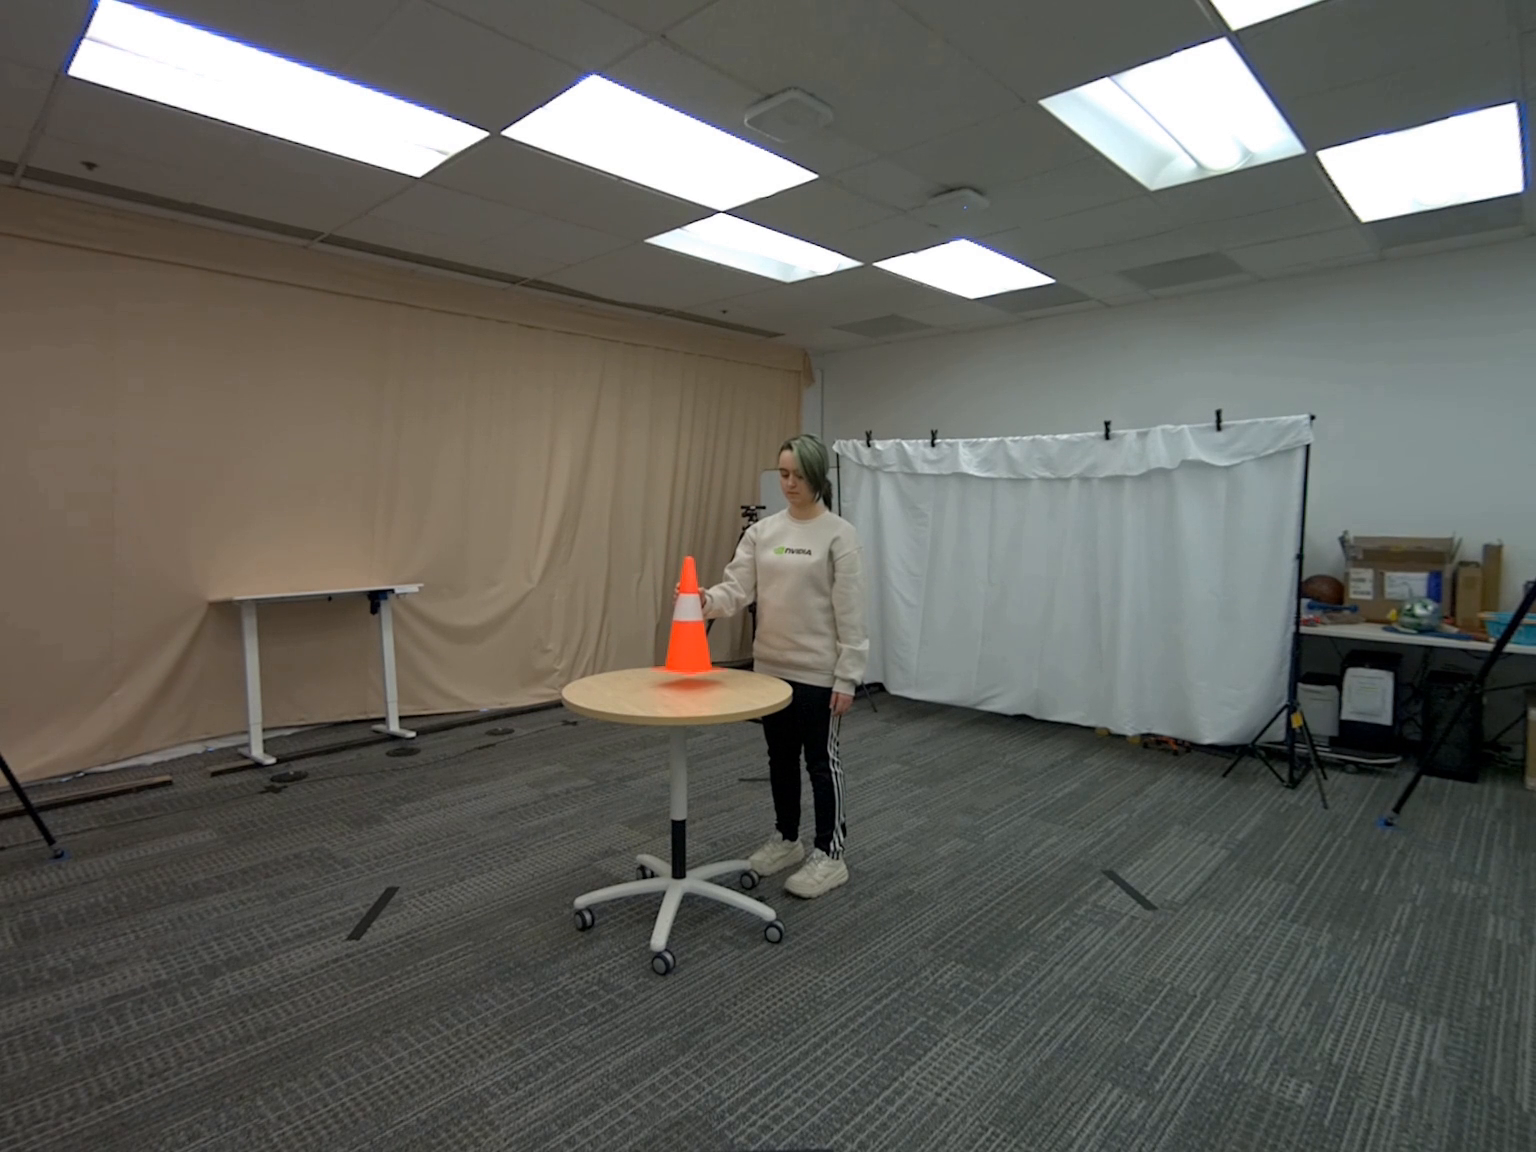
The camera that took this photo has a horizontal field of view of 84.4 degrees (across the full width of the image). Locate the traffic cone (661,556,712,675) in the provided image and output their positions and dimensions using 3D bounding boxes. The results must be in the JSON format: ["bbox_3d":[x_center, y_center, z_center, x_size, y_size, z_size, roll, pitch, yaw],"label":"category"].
[{"bbox_3d":[-0.268,0.124,2.873,0.211,0.384,0.197,1,0,34],"label":"traffic cone"}]
